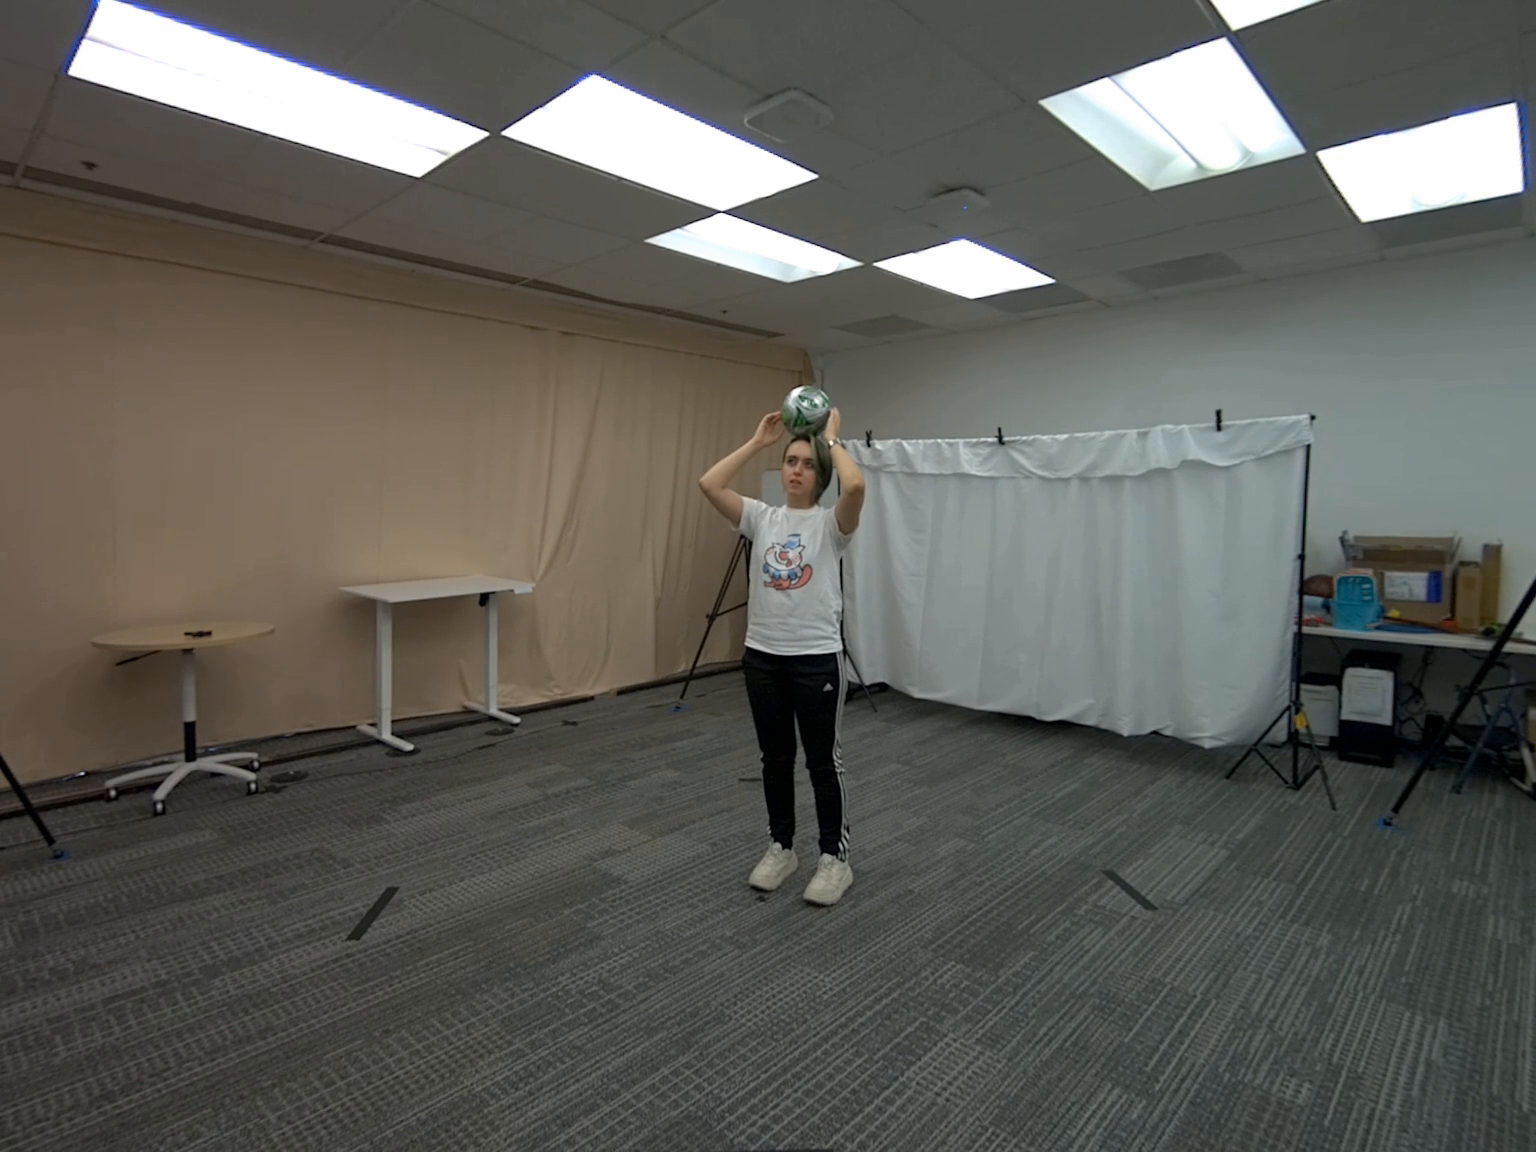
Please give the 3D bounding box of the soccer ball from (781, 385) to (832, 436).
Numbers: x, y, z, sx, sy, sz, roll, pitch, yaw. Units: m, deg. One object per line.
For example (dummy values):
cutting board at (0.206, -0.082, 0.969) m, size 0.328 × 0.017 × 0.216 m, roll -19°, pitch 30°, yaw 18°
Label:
soccer ball at (0.148, -0.591, 3.034) m, size 0.187 × 0.187 × 0.188 m, roll 0°, pitch 4°, yaw -2°
